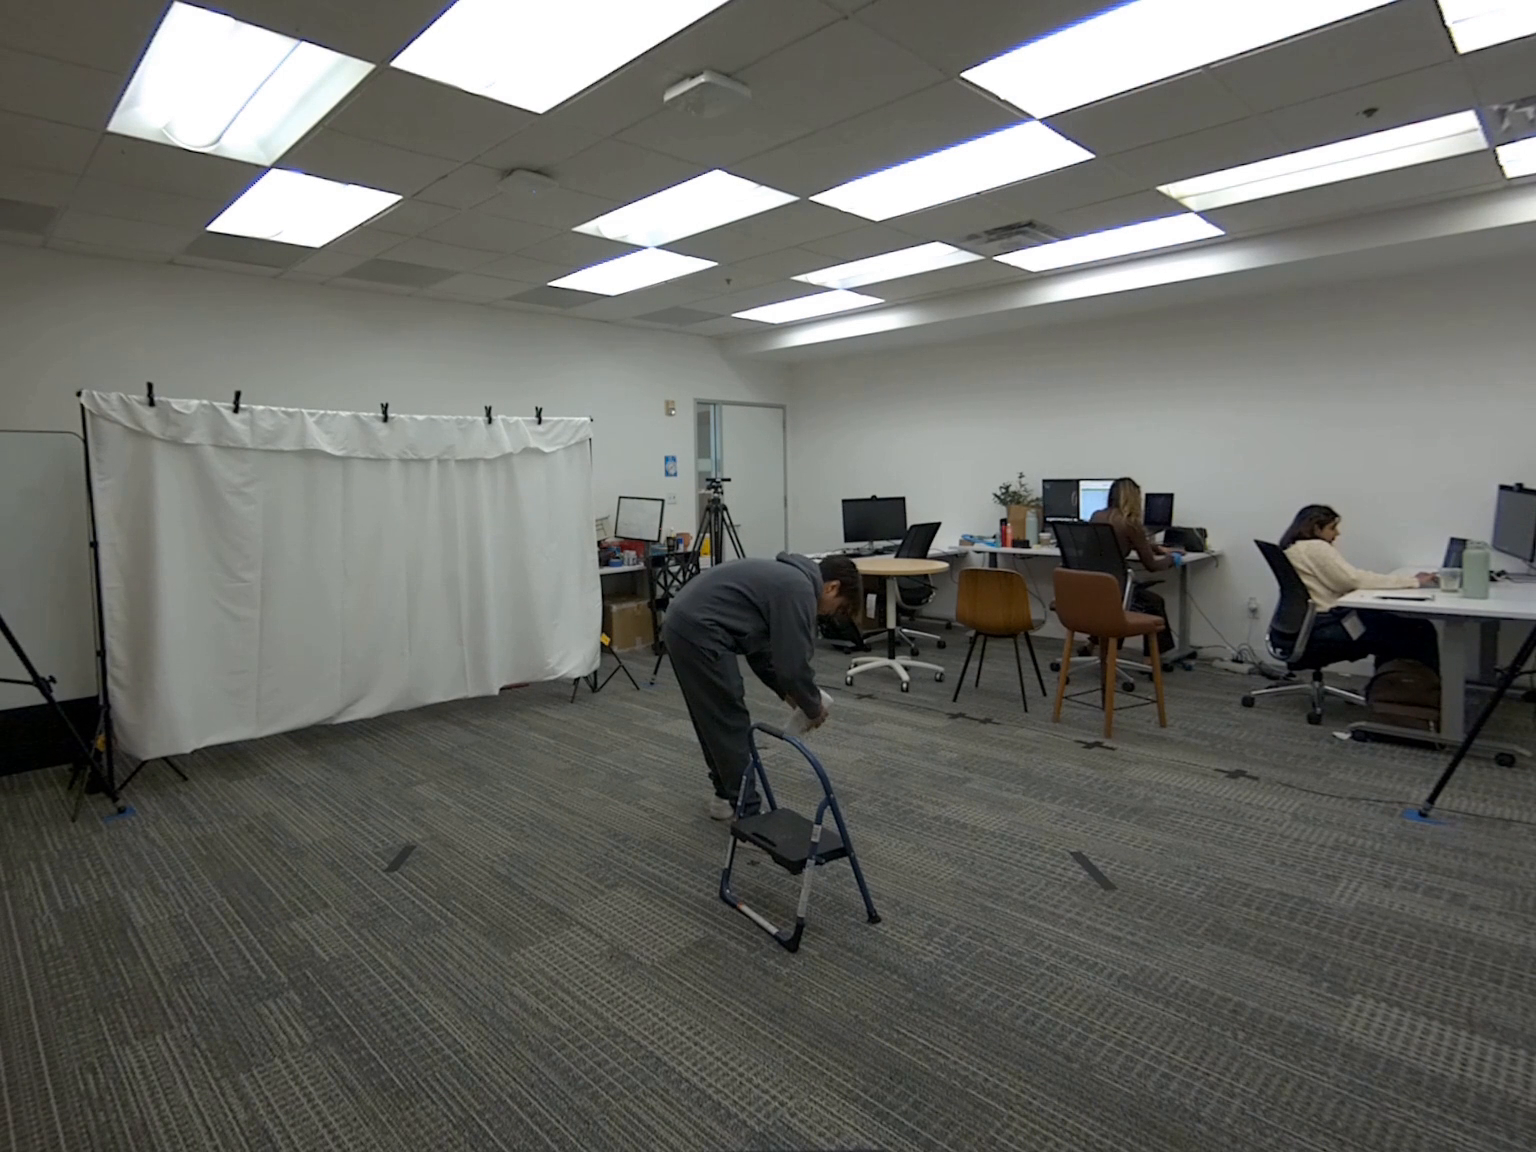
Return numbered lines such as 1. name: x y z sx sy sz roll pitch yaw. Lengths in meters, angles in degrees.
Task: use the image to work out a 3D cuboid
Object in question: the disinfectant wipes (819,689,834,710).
1. disinfectant wipes: 0.166 0.558 3.493 0.117 0.217 0.118 37 3 -5
